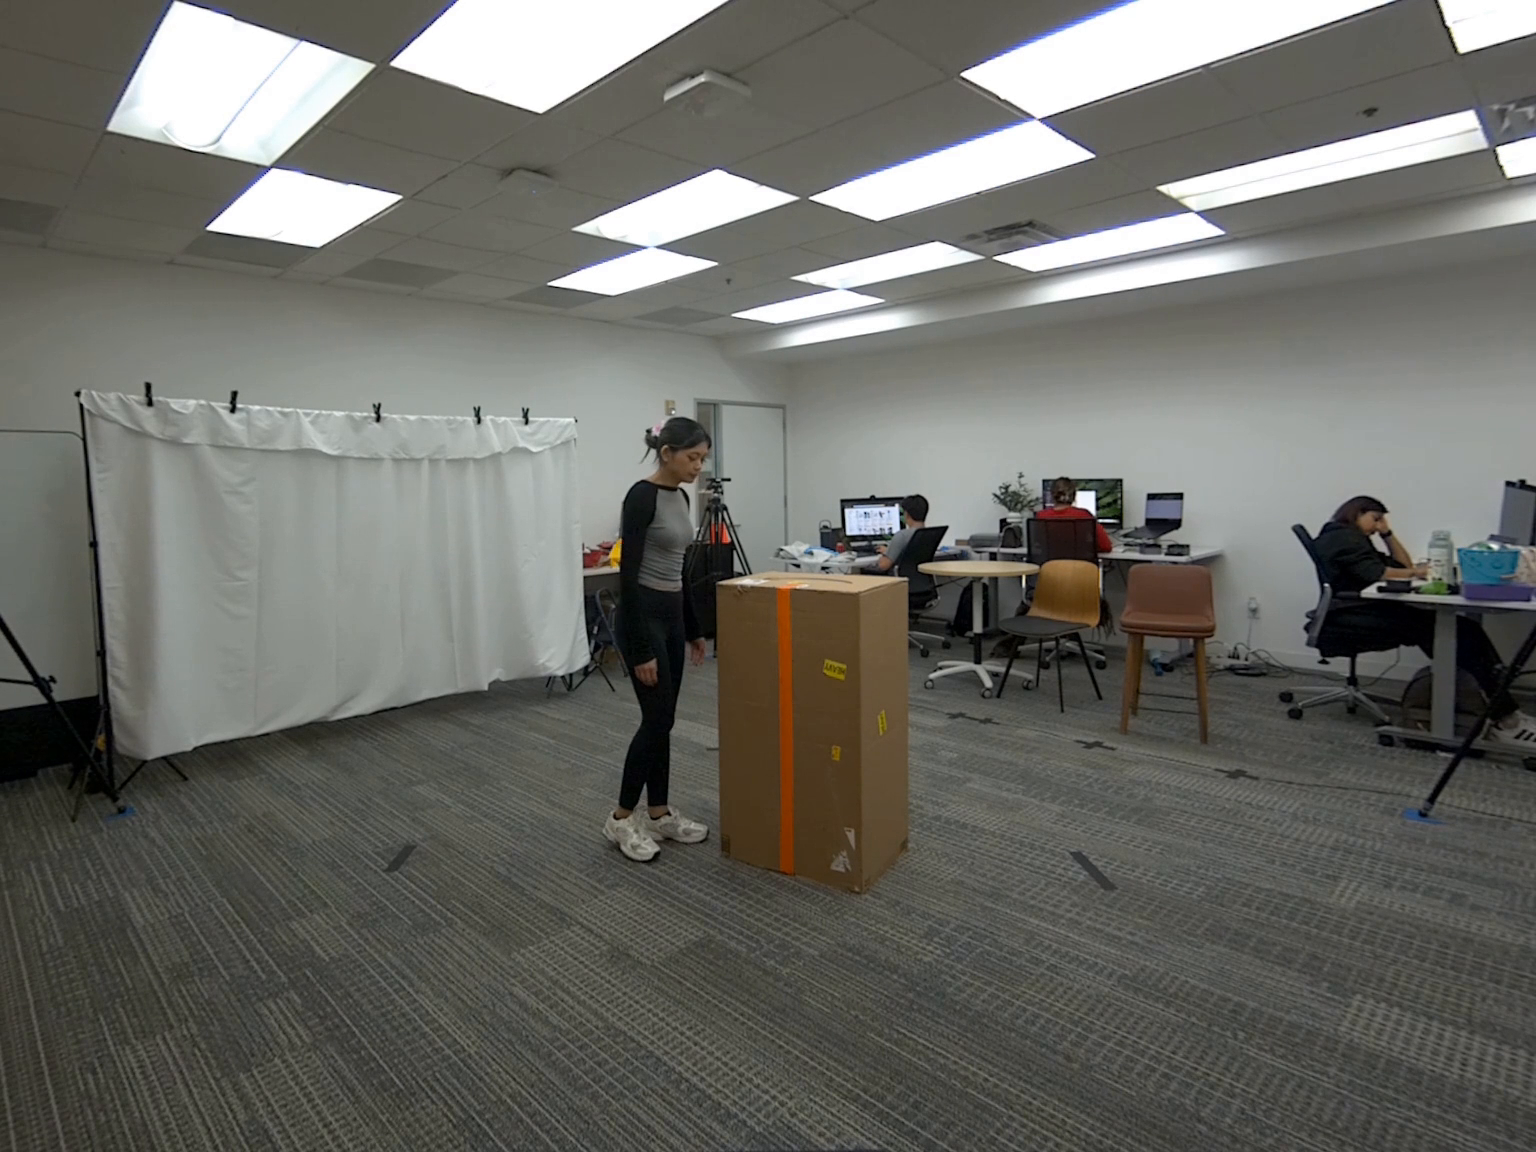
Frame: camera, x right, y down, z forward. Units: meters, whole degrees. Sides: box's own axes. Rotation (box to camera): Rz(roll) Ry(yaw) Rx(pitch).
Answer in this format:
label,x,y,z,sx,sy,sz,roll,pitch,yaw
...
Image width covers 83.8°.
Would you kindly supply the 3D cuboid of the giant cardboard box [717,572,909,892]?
label,x,y,z,sx,sy,sz,roll,pitch,yaw
giant cardboard box,0.169,0.523,3.149,0.594,1.022,0.416,2,5,34
